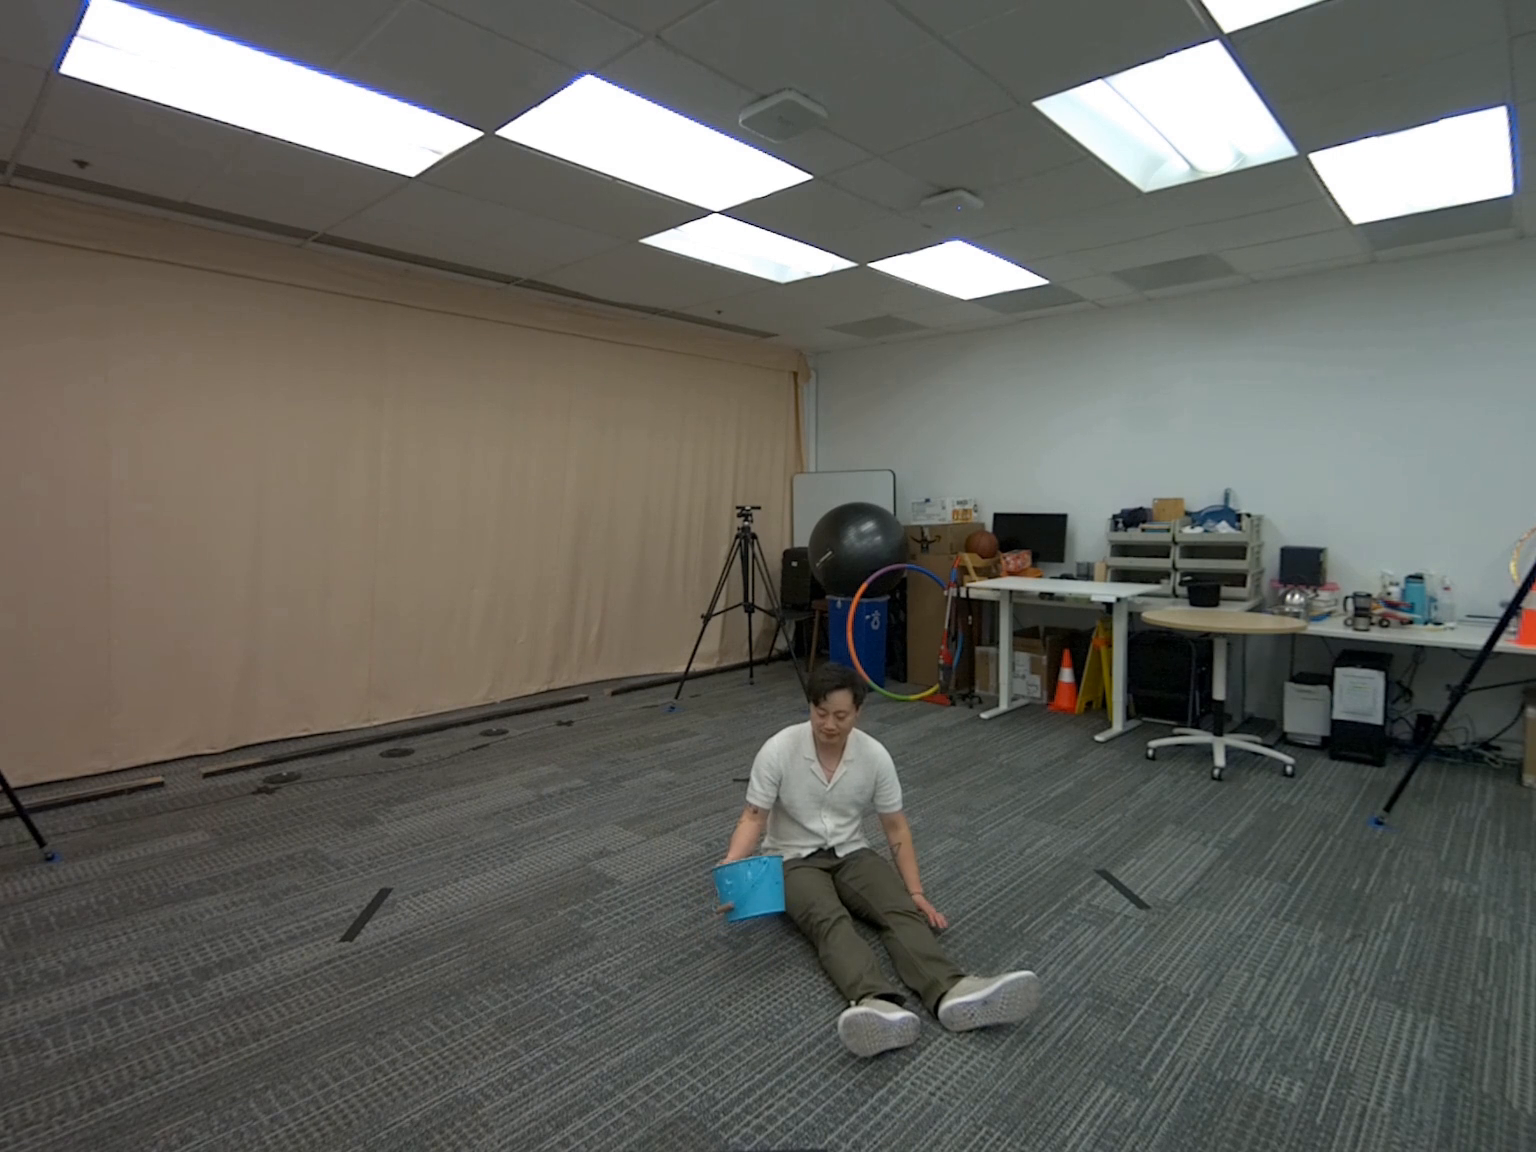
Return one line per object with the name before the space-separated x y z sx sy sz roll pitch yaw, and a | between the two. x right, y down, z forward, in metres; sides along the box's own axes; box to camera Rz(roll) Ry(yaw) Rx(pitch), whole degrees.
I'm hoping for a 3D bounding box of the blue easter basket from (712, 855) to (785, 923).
blue easter basket | -0.053 0.946 2.530 0.242 0.159 0.240 -9 -24 -6
